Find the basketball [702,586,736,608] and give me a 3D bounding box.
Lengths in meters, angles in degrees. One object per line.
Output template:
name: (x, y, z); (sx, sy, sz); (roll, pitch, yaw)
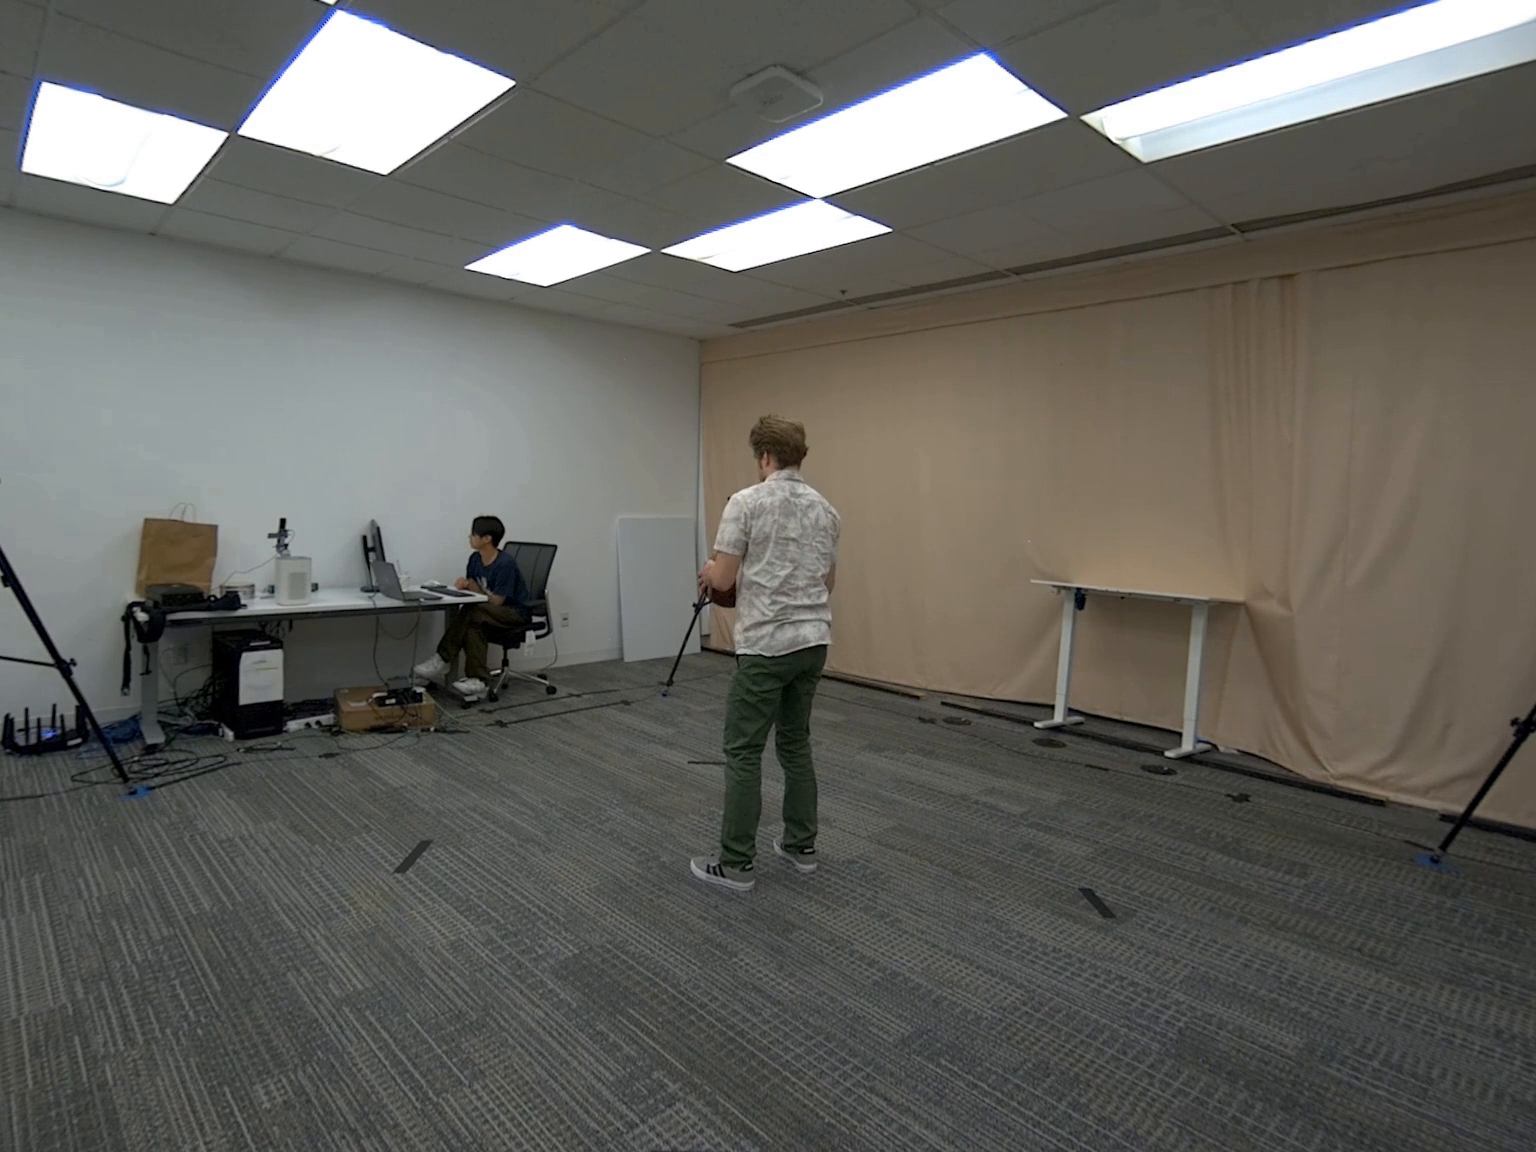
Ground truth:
basketball: (-0.157, 0.015, 3.458); (0.236, 0.235, 0.237); (1, 4, -1)
